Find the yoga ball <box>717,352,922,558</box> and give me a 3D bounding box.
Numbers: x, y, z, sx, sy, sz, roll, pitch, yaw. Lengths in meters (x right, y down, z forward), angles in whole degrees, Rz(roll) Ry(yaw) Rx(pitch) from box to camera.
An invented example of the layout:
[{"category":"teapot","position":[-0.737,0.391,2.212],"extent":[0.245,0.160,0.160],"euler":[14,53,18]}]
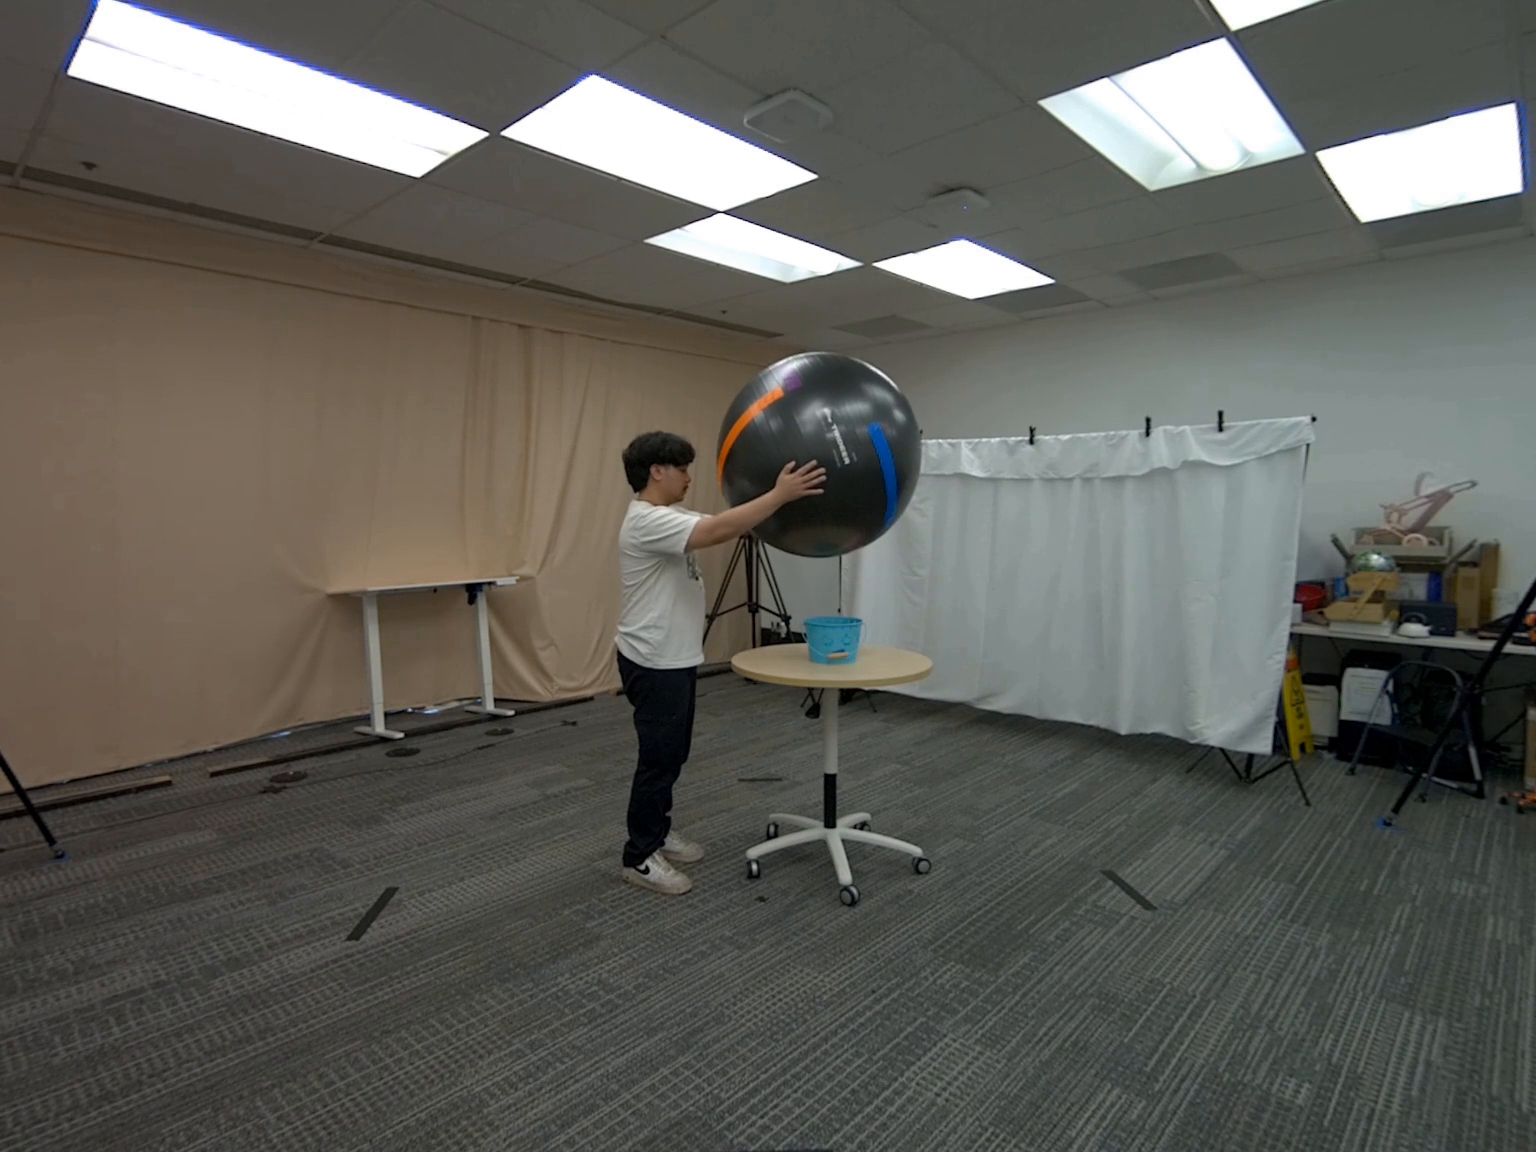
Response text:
[{"category":"yoga ball","position":[0.194,-0.436,3.155],"extent":[0.757,0.756,0.760],"euler":[0,4,-2]}]
